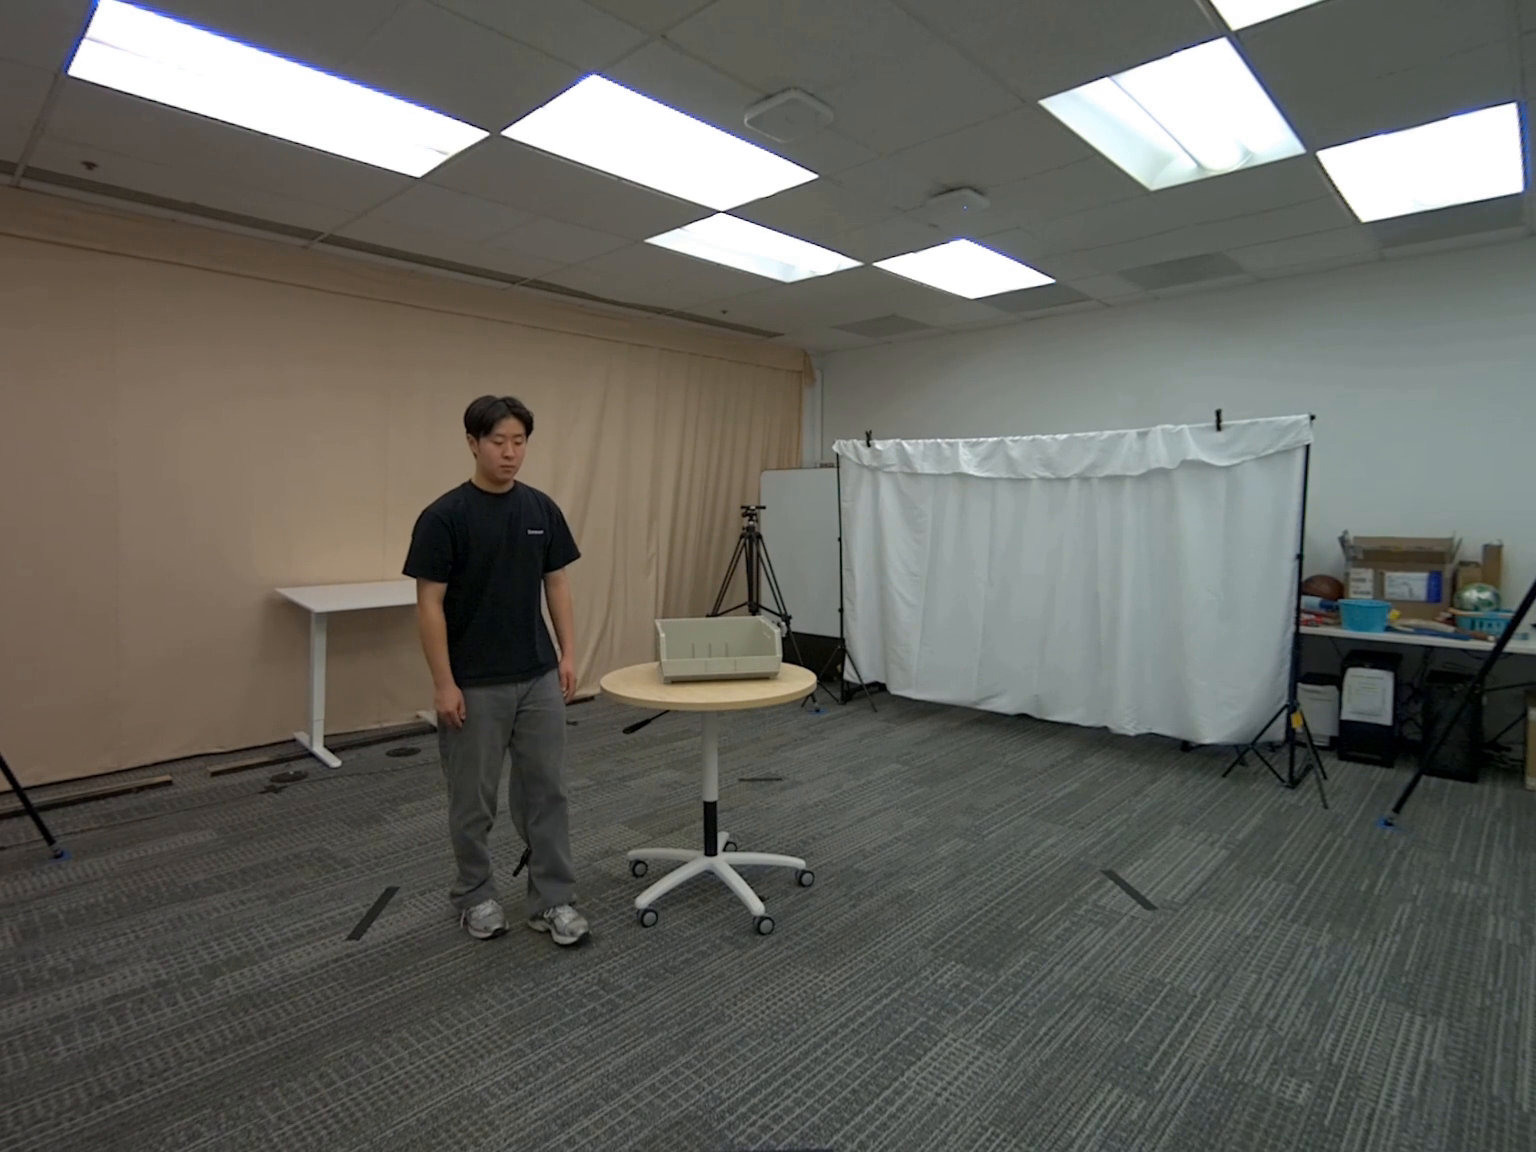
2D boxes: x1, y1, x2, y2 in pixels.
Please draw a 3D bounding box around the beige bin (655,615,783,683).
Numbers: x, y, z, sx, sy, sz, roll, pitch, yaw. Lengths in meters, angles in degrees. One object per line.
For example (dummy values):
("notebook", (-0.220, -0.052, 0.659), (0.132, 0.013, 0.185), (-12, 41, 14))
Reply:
("beige bin", (-0.183, 0.265, 3.053), (0.419, 0.189, 0.381), (-2, 3, -8))
